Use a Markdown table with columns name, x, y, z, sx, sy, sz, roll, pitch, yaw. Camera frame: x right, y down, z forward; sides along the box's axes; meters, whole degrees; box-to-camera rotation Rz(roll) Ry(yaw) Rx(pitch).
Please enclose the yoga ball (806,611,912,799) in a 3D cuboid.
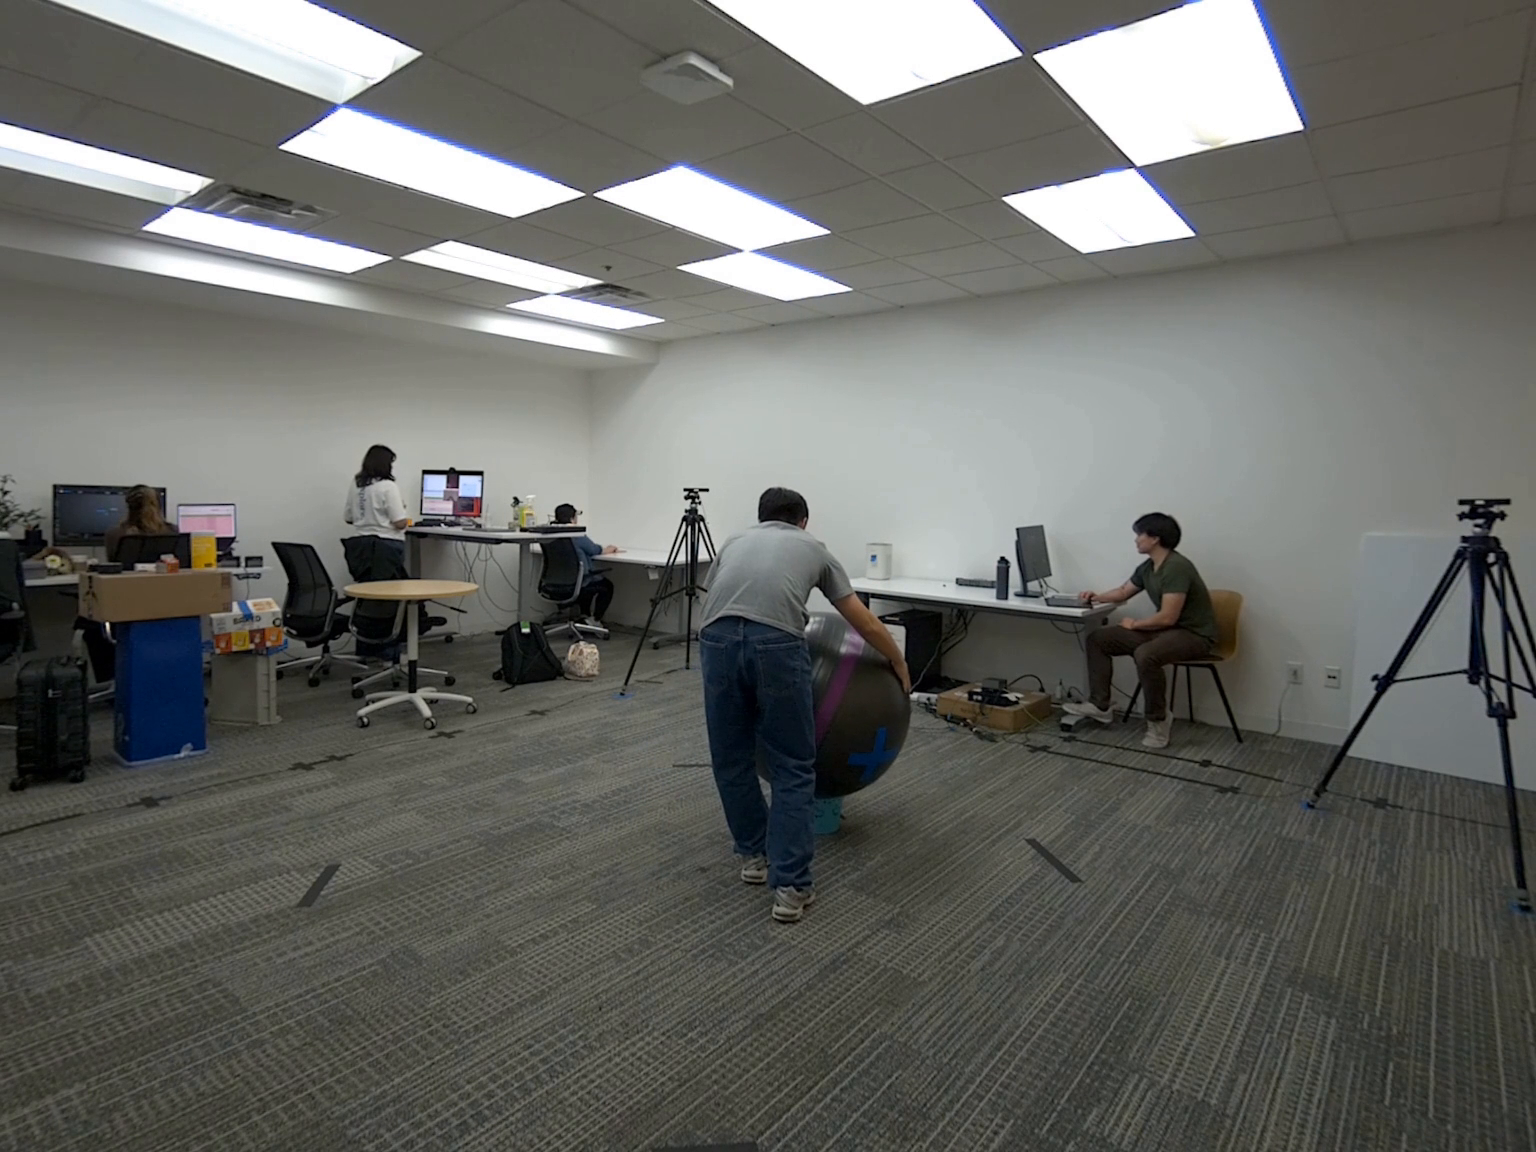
| name | x | y | z | sx | sy | sz | roll | pitch | yaw |
| --- | --- | --- | --- | --- | --- | --- | --- | --- | --- |
| yoga ball | 0.199 | 0.531 | 3.524 | 0.757 | 0.755 | 0.762 | 1 | 4 | -2 |
